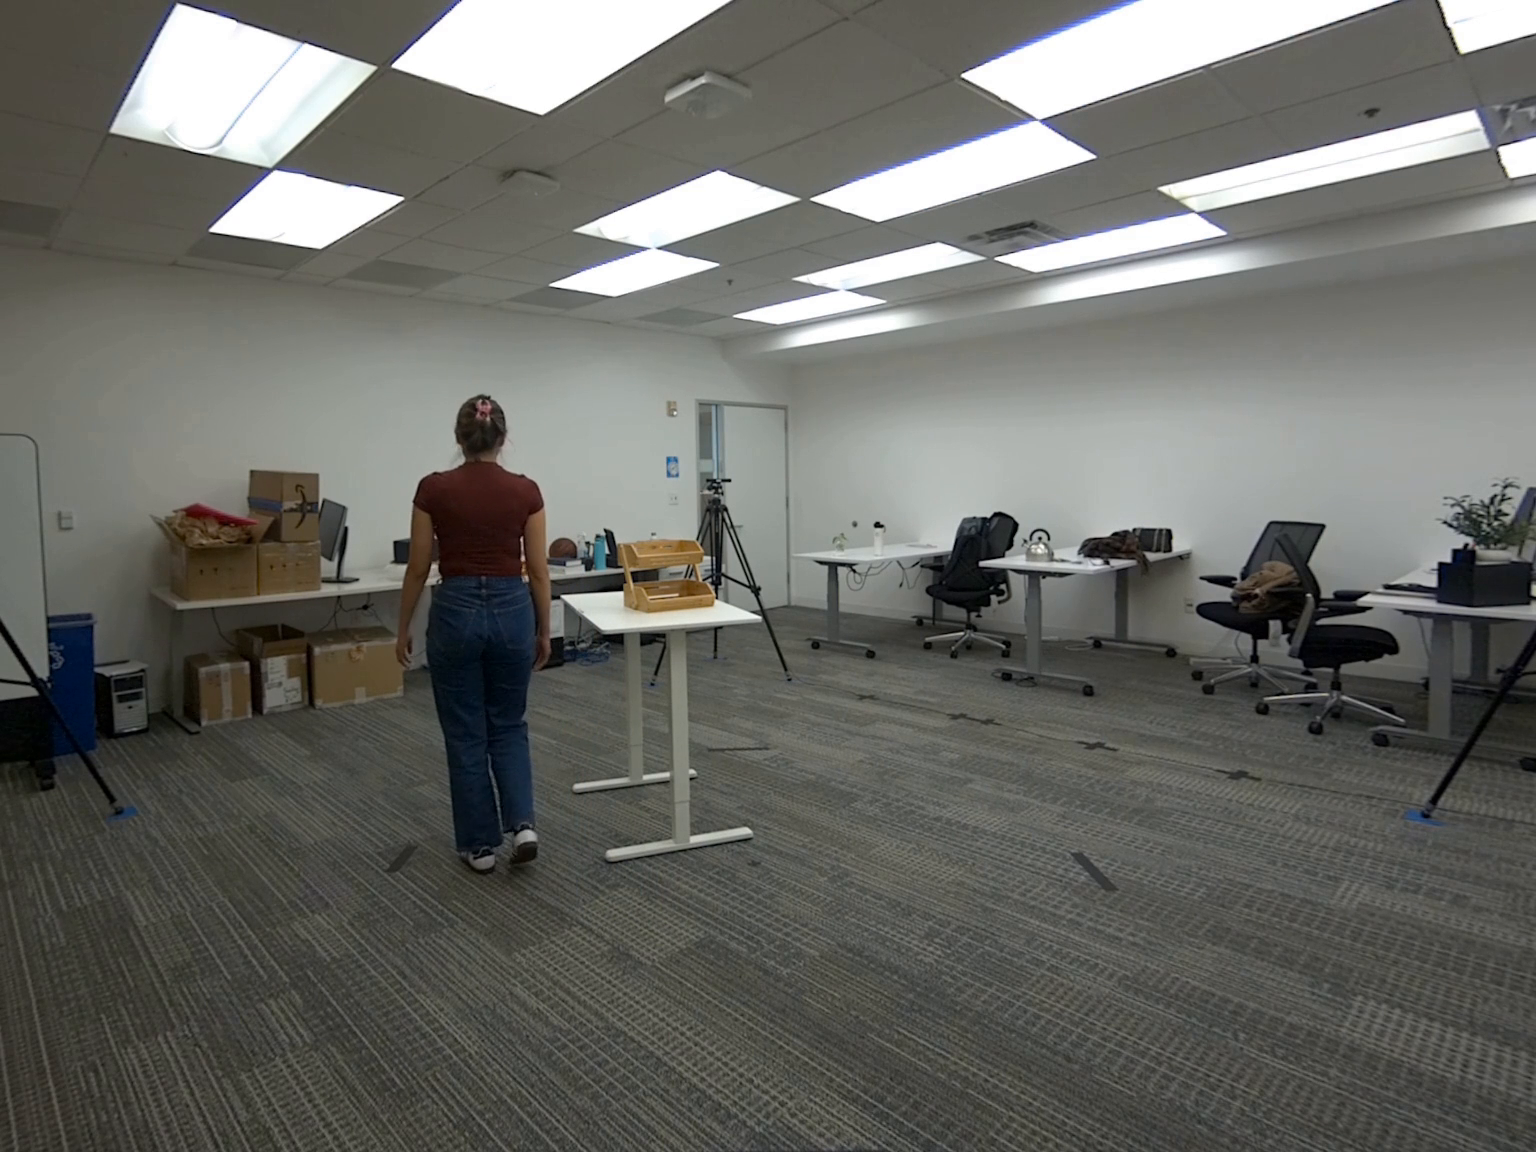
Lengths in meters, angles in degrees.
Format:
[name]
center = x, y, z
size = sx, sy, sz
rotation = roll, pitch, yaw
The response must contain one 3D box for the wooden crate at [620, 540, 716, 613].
[wooden crate]
center = -0.424, -0.011, 3.529
size = 0.317, 0.272, 0.310
rotation = -4, 5, -31
